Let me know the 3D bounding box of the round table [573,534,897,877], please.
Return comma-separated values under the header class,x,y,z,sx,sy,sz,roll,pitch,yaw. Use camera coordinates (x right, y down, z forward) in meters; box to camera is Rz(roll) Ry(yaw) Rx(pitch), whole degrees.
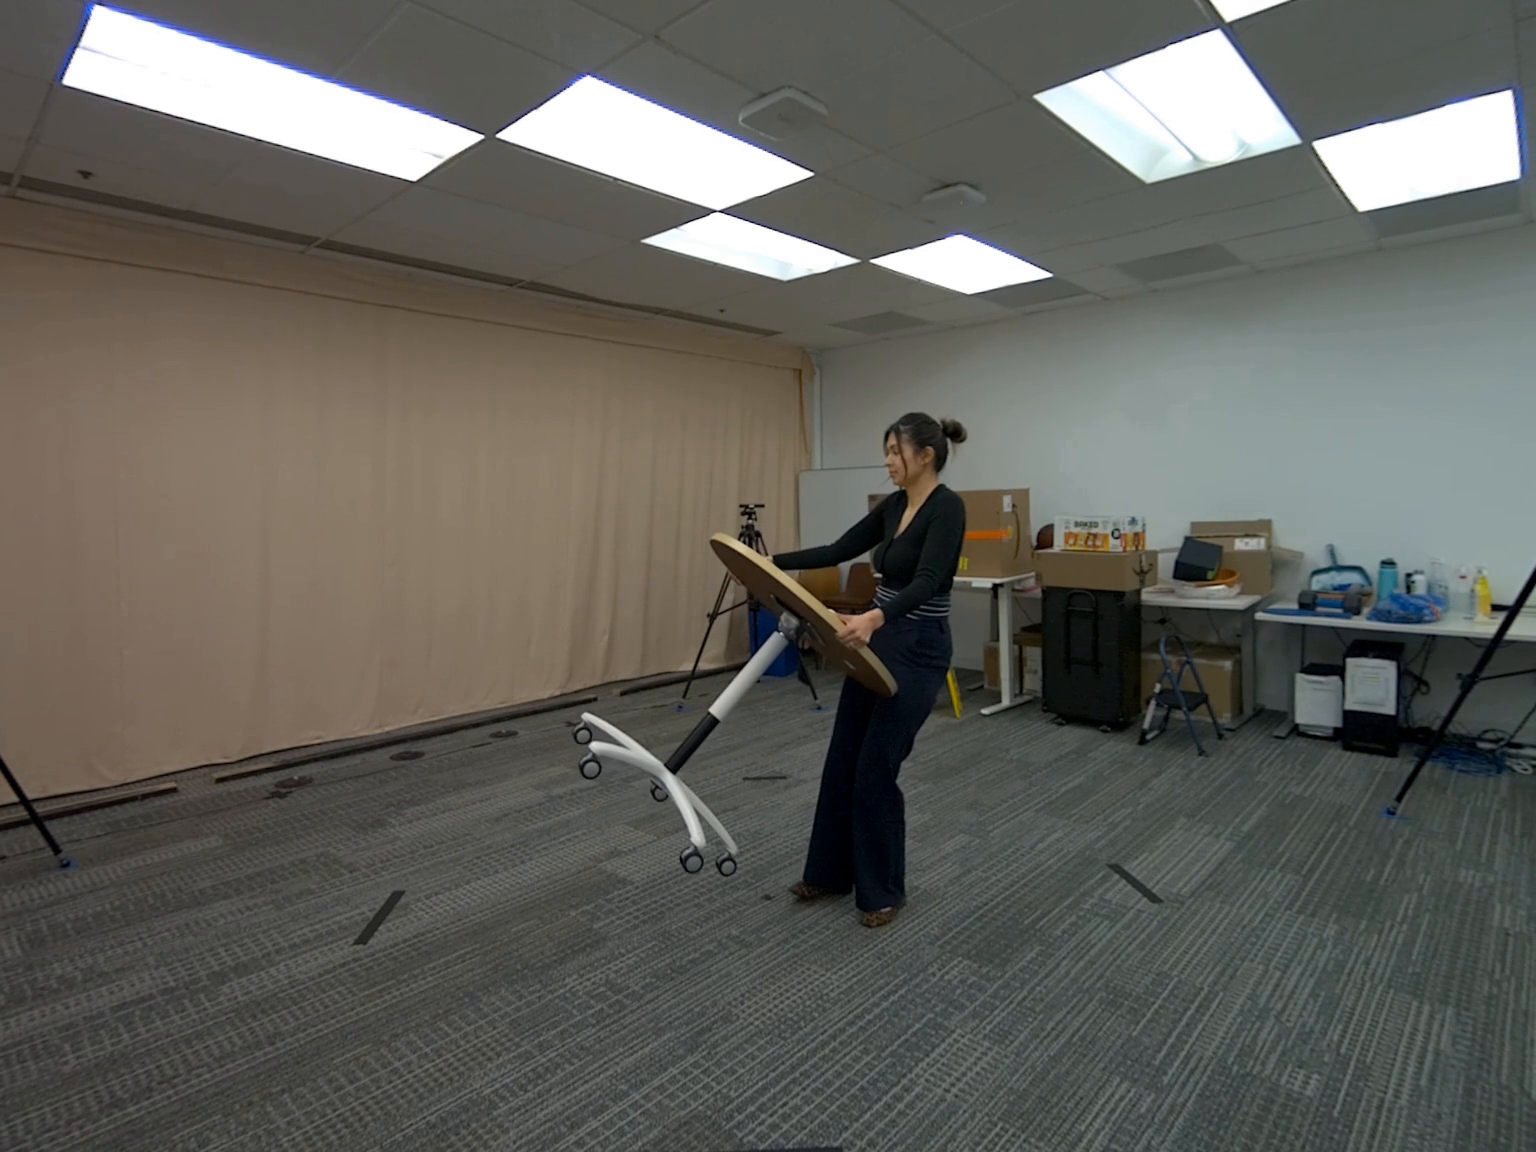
class,x,y,z,sx,sy,sz,roll,pitch,yaw
round table,-0.143,0.422,2.684,0.769,0.792,0.760,40,-8,4
